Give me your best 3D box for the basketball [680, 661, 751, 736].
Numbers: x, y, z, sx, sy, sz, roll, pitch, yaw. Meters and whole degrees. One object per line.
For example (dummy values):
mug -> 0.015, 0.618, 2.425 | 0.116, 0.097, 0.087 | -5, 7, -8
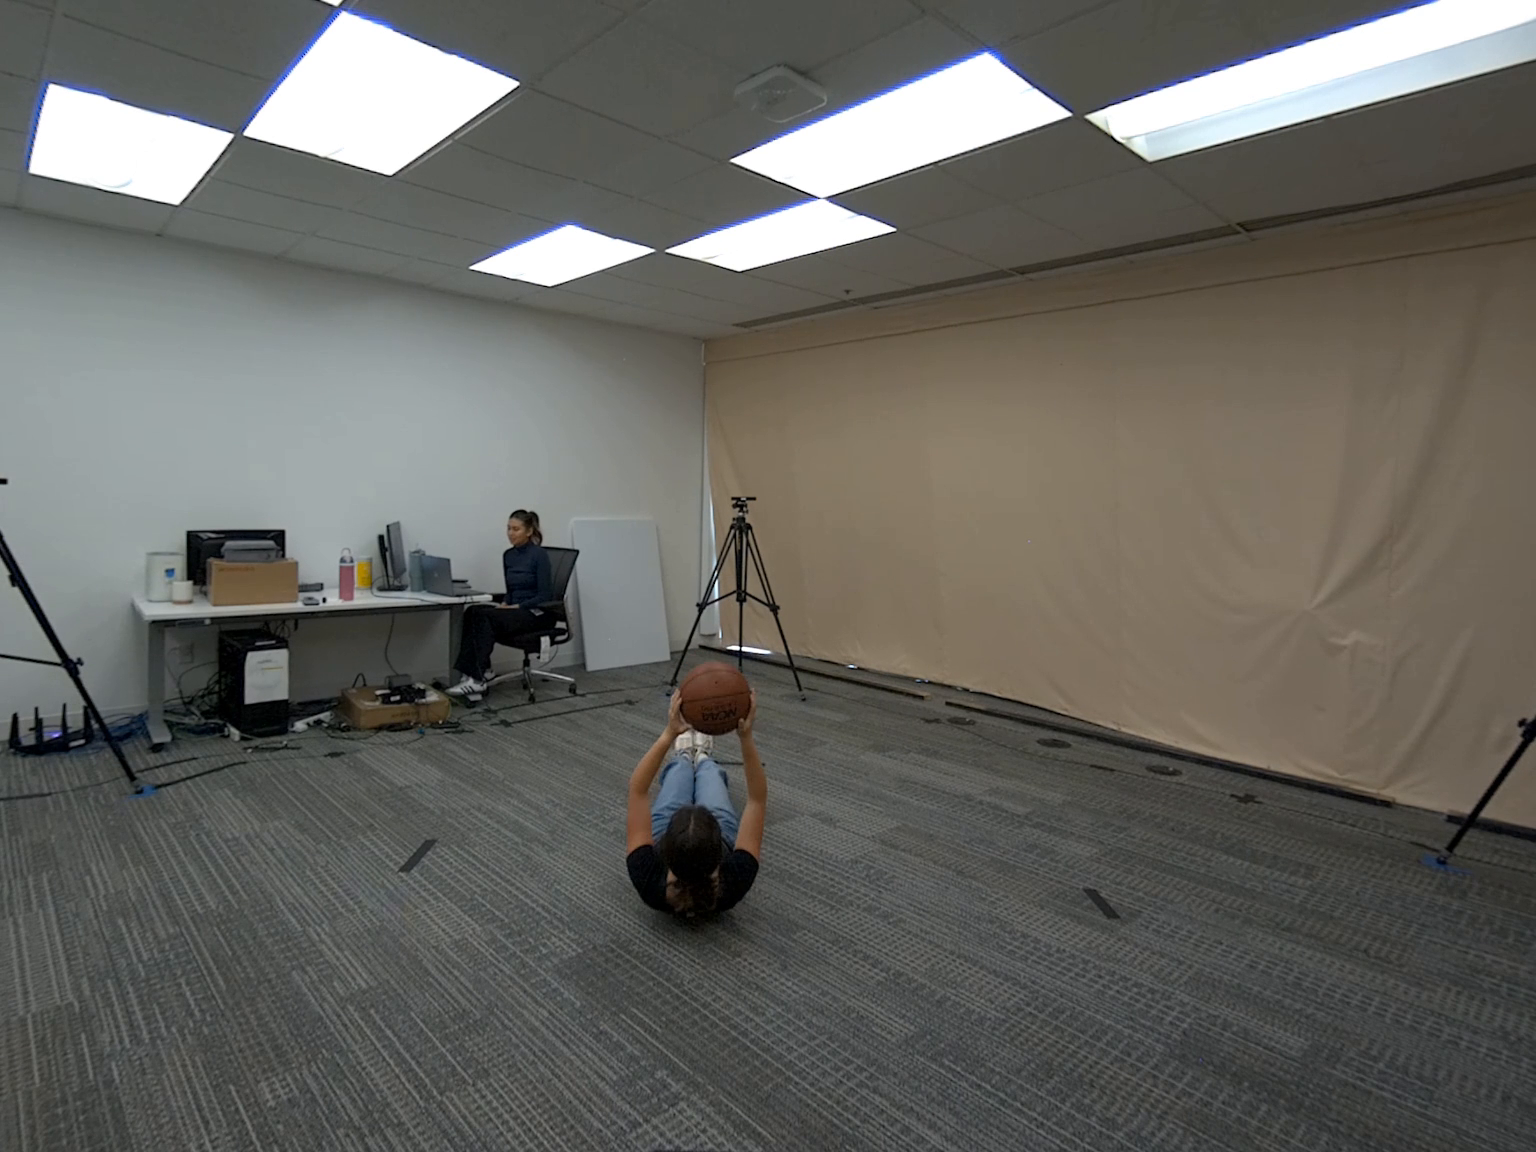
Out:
basketball -> -0.182, 0.408, 2.738 | 0.236, 0.235, 0.237 | 1, 4, -1
